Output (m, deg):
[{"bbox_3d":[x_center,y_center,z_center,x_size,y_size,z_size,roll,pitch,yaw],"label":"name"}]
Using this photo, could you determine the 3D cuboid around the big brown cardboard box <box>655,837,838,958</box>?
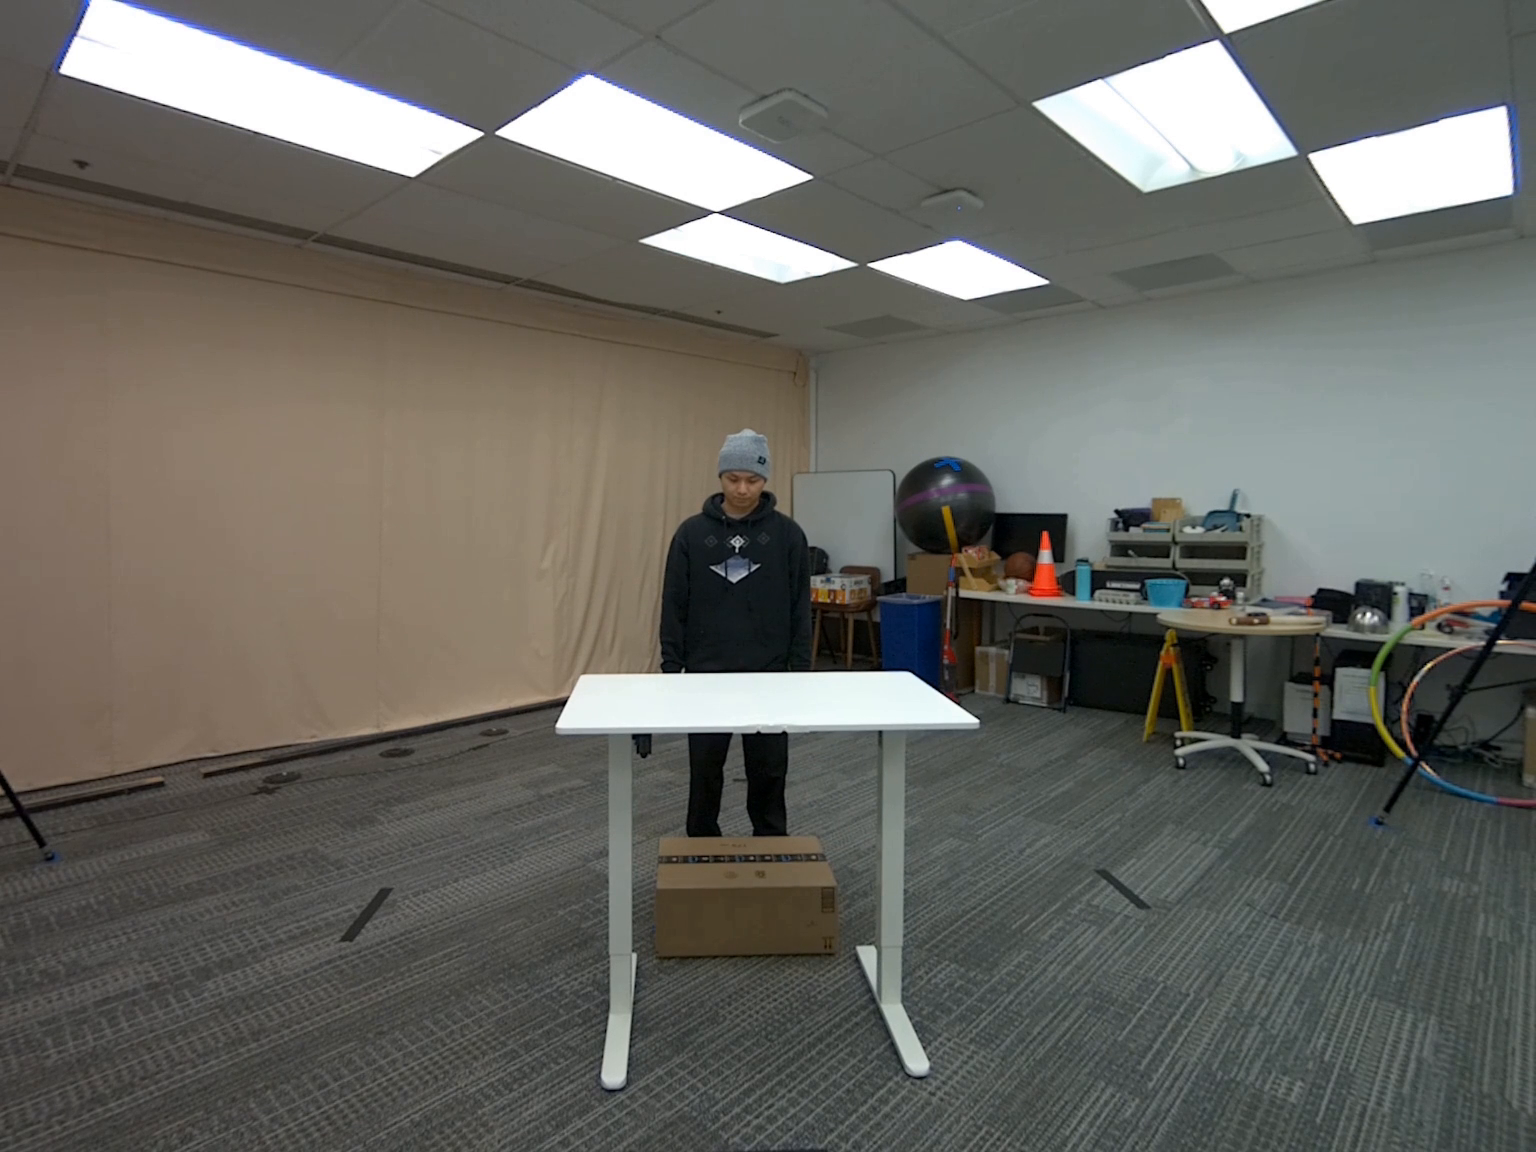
[{"bbox_3d":[-0.087,1.046,2.799,0.588,0.232,0.419,-1,4,-3],"label":"big brown cardboard box"}]
